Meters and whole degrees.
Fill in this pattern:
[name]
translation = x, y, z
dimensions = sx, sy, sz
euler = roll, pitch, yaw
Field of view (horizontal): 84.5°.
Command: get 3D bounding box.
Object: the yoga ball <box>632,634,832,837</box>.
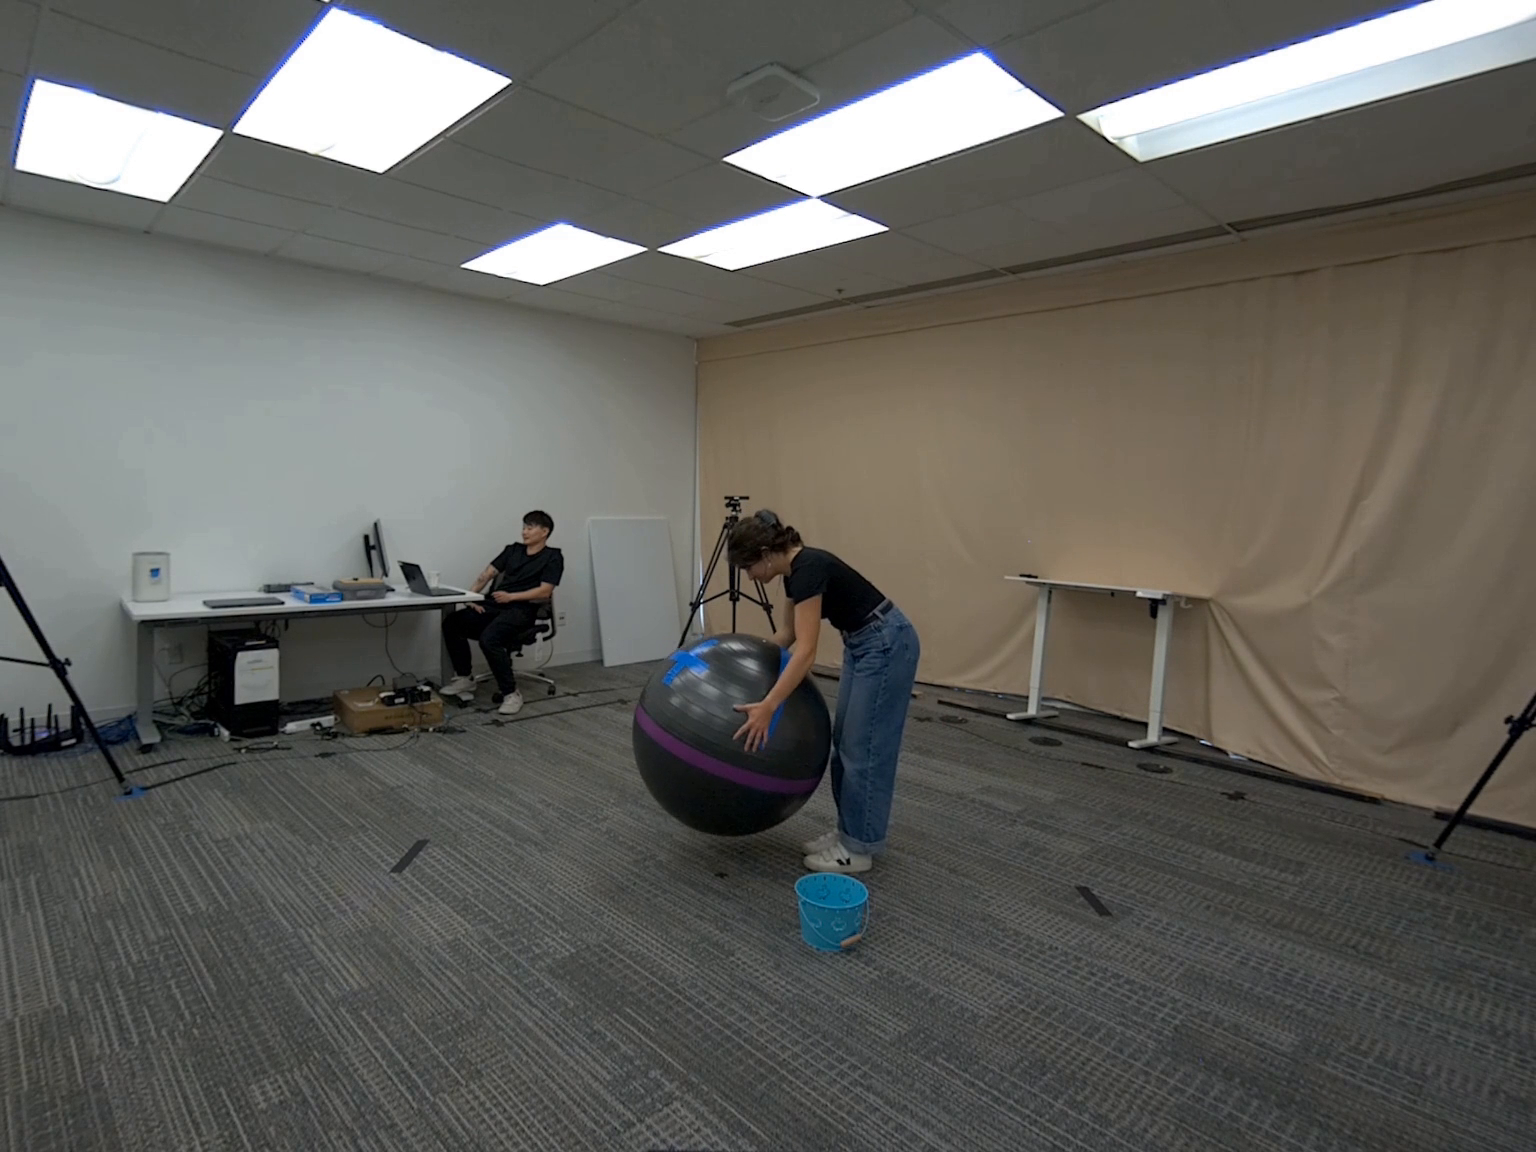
[yoga ball]
translation = -0.153, 0.604, 3.249
dimensions = 0.757, 0.756, 0.761
euler = 1, 4, -1
